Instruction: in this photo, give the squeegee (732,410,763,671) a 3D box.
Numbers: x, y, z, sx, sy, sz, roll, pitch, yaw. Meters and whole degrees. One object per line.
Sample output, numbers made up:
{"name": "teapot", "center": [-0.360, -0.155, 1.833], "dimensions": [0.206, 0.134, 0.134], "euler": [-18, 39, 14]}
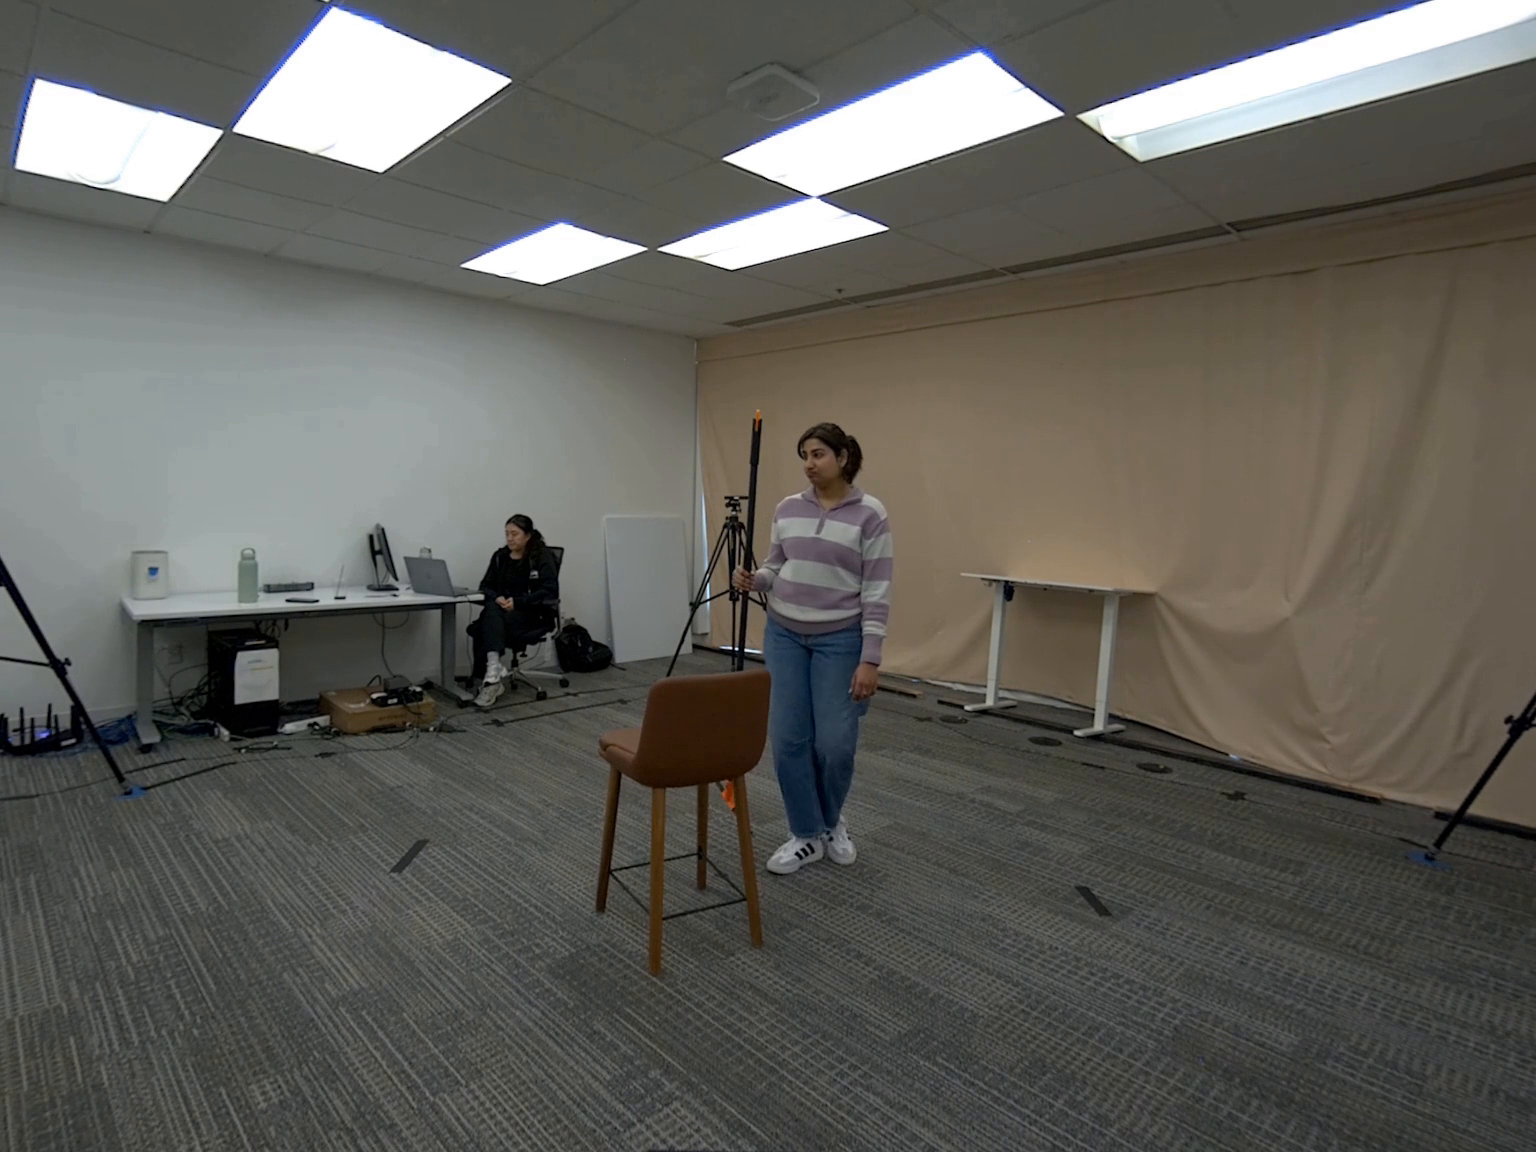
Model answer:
{"name": "squeegee", "center": [-0.089, 0.198, 3.119], "dimensions": [0.439, 1.533, 0.053], "euler": [4, 4, 5]}
